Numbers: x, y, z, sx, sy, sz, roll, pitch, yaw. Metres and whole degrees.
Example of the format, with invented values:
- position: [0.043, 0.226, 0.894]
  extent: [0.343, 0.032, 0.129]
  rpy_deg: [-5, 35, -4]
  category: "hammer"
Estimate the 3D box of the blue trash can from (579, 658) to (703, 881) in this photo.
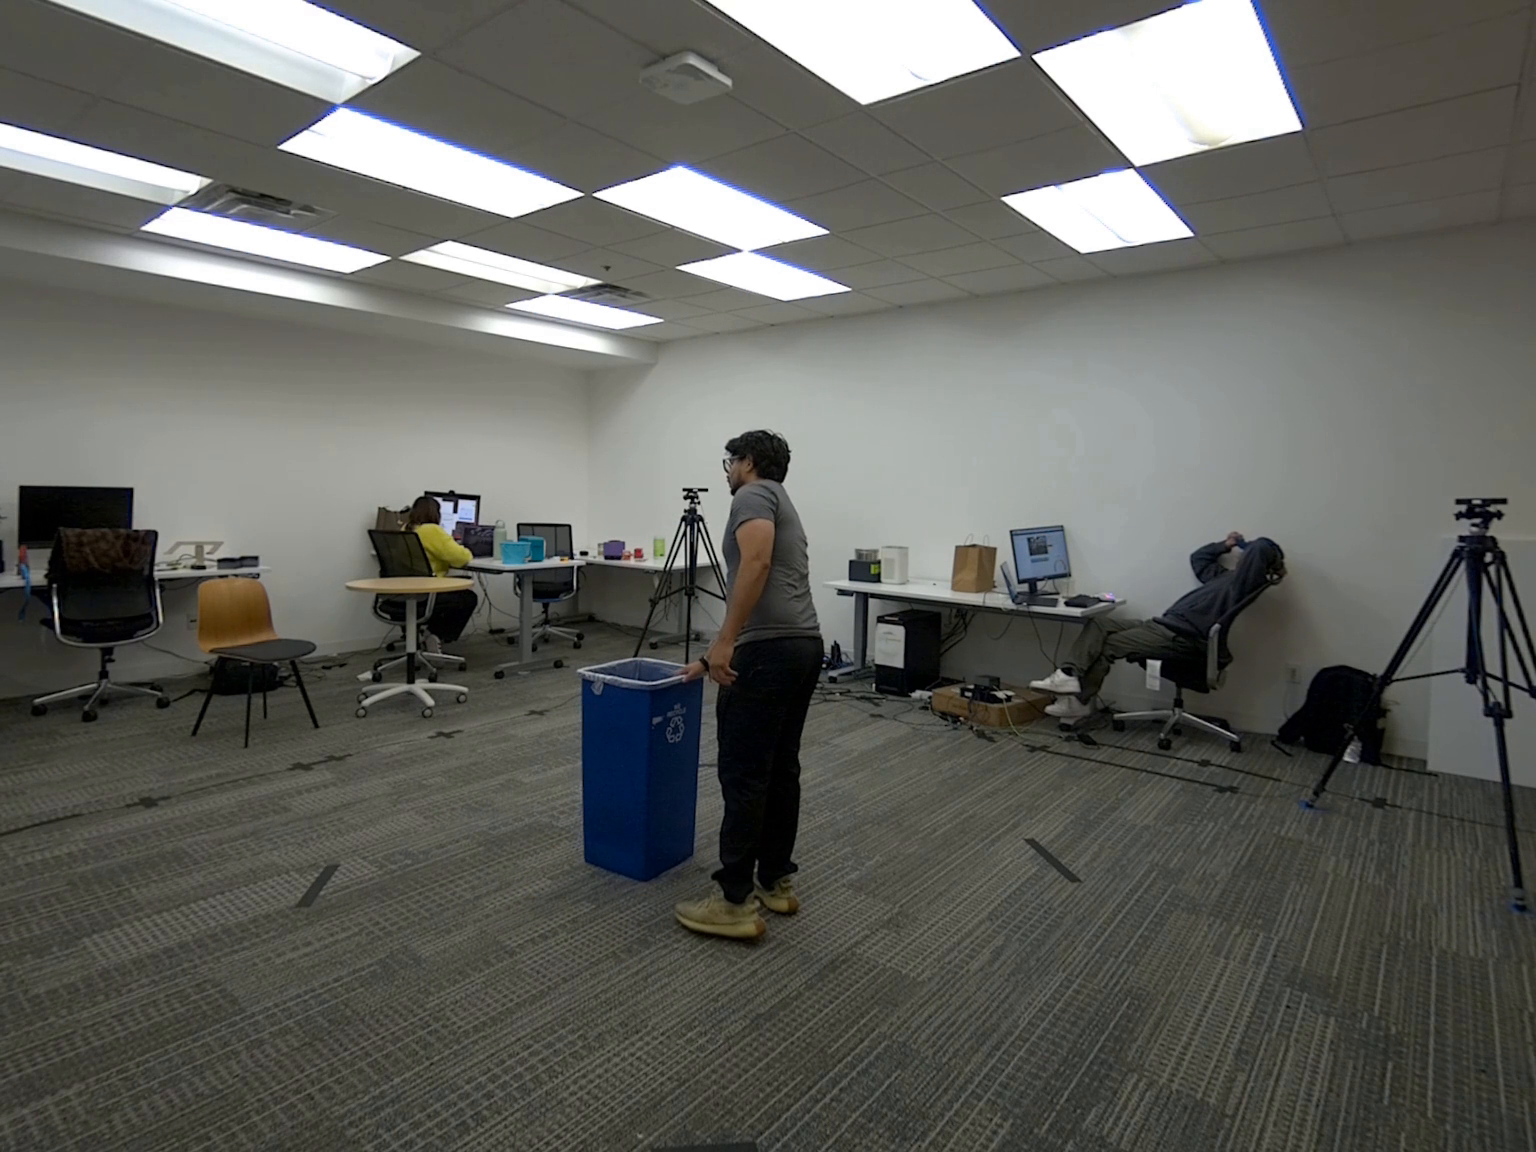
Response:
- position: [-0.484, 0.698, 3.190]
  extent: [0.390, 0.711, 0.364]
  rpy_deg: [3, 4, 33]
  category: "blue trash can"
